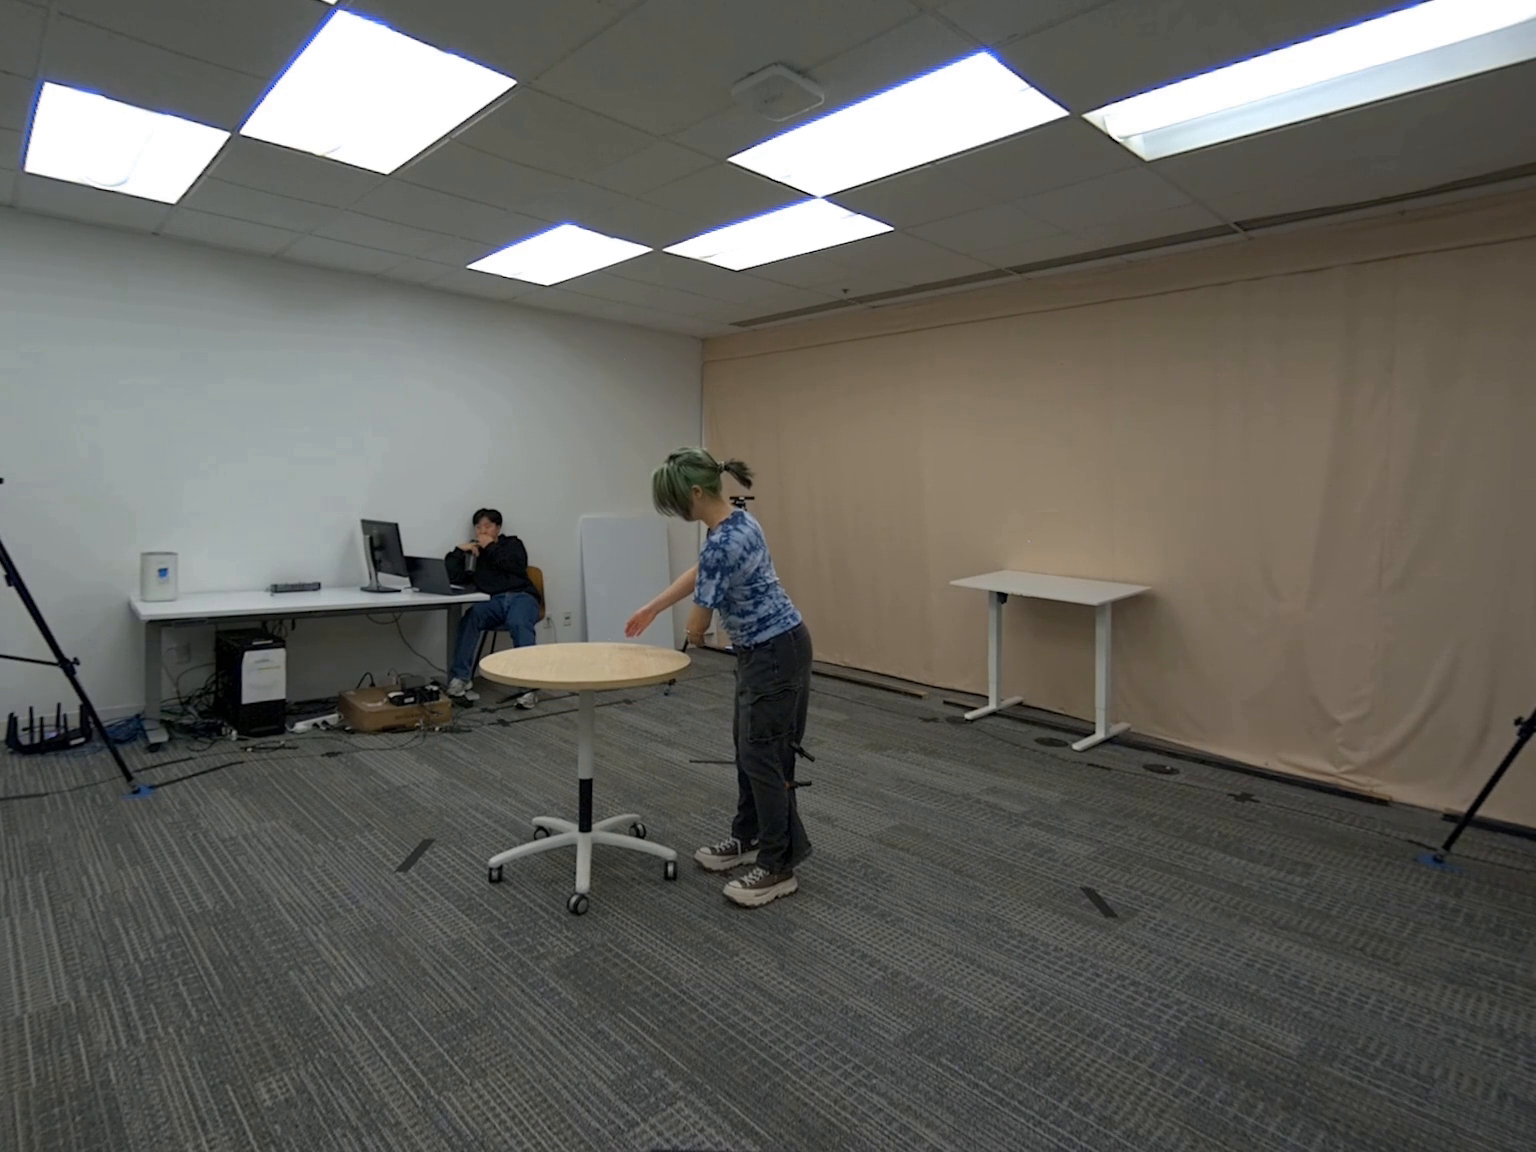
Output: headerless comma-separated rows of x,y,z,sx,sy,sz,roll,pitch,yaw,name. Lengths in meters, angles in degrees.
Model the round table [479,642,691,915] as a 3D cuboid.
-0.682,0.702,3.120,0.763,0.792,0.766,1,3,-1,round table
